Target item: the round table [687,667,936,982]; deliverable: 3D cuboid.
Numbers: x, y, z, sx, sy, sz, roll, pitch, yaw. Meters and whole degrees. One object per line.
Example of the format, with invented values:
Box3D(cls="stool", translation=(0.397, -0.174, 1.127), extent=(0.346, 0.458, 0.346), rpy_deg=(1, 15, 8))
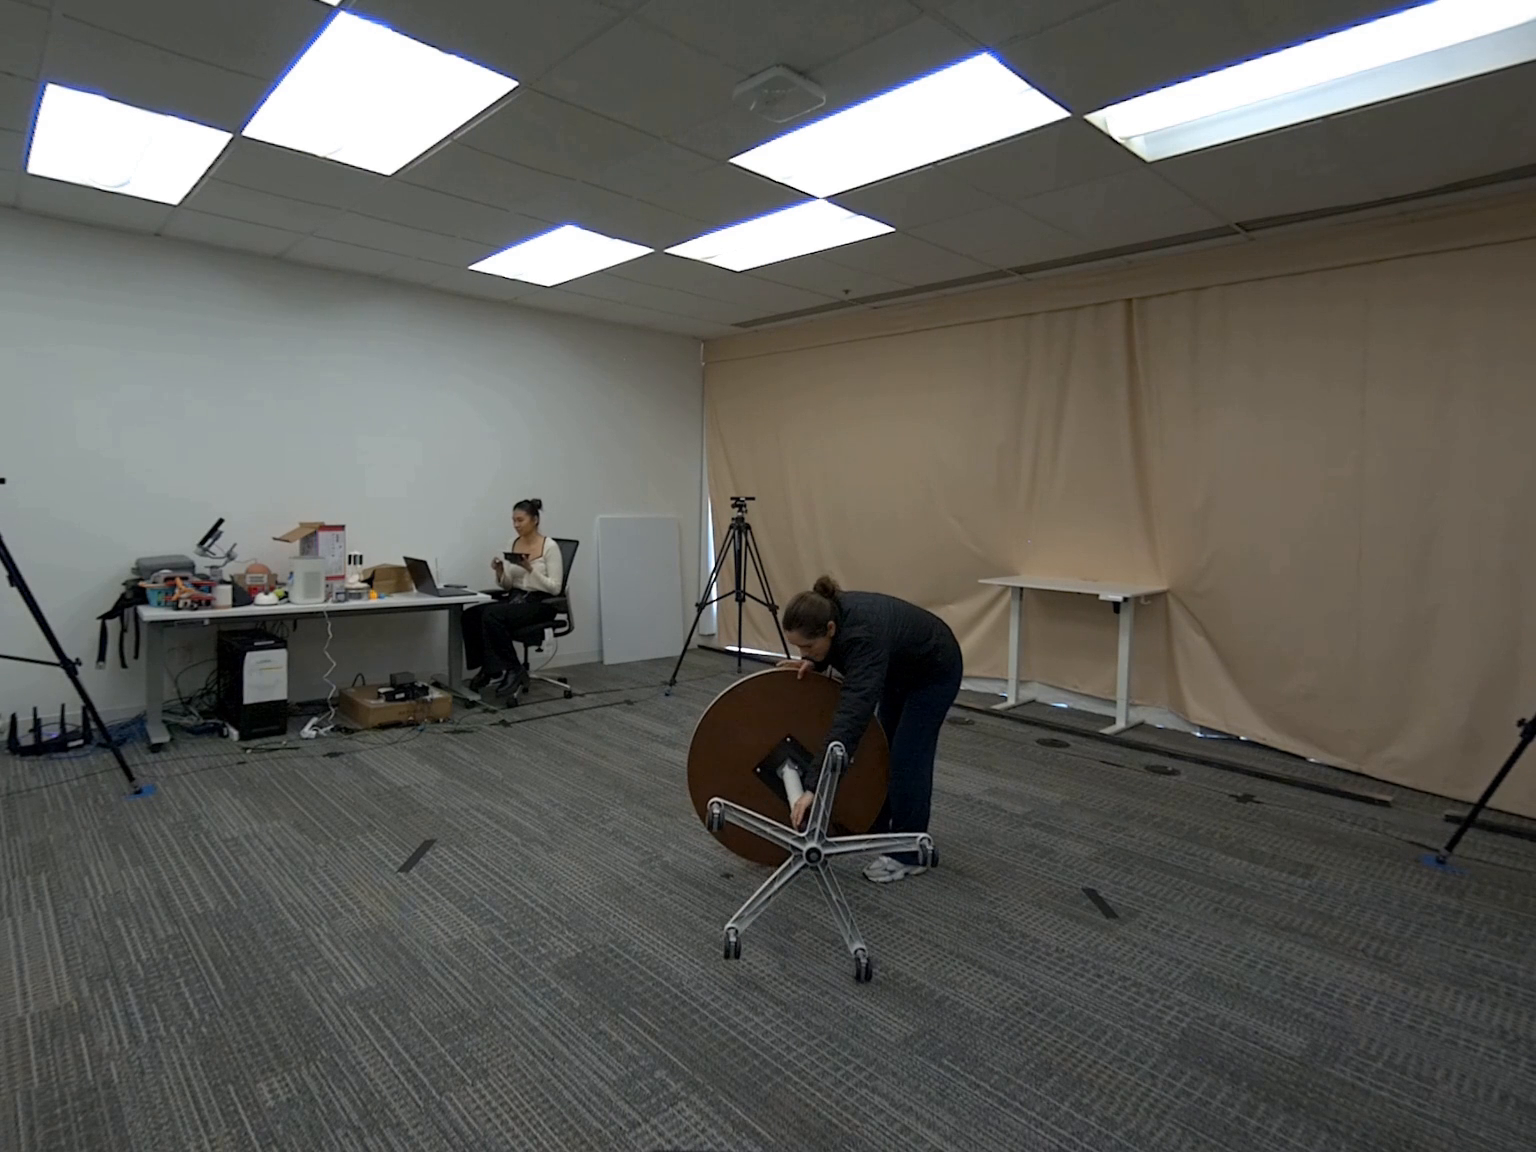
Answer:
Box3D(cls="round table", translation=(0.096, 0.783, 2.775), extent=(0.784, 0.782, 0.791), rpy_deg=(1, 6, -2))
